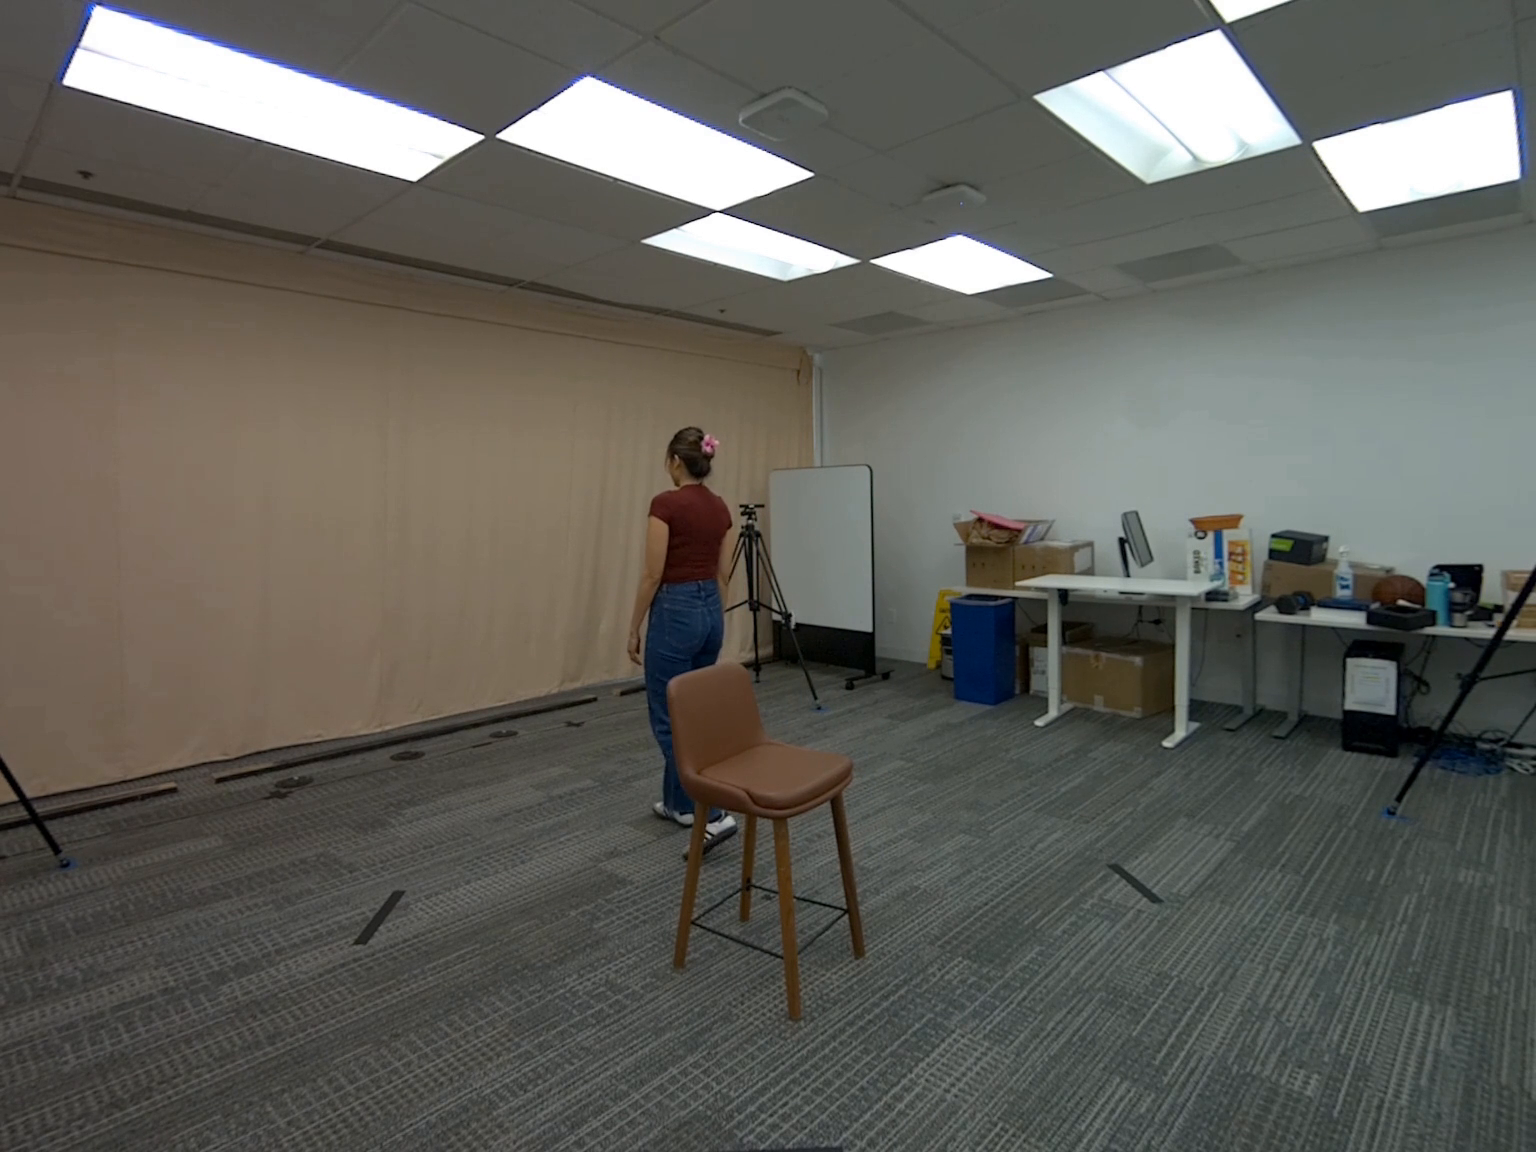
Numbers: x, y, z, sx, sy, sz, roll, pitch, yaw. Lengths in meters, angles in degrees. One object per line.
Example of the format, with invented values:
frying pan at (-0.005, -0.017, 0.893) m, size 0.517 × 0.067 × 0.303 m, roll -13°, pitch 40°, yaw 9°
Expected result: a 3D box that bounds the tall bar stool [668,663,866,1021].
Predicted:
tall bar stool at (-0.005, 0.745, 2.542) m, size 0.482 × 0.888 × 0.443 m, roll 0°, pitch 3°, yaw 36°
